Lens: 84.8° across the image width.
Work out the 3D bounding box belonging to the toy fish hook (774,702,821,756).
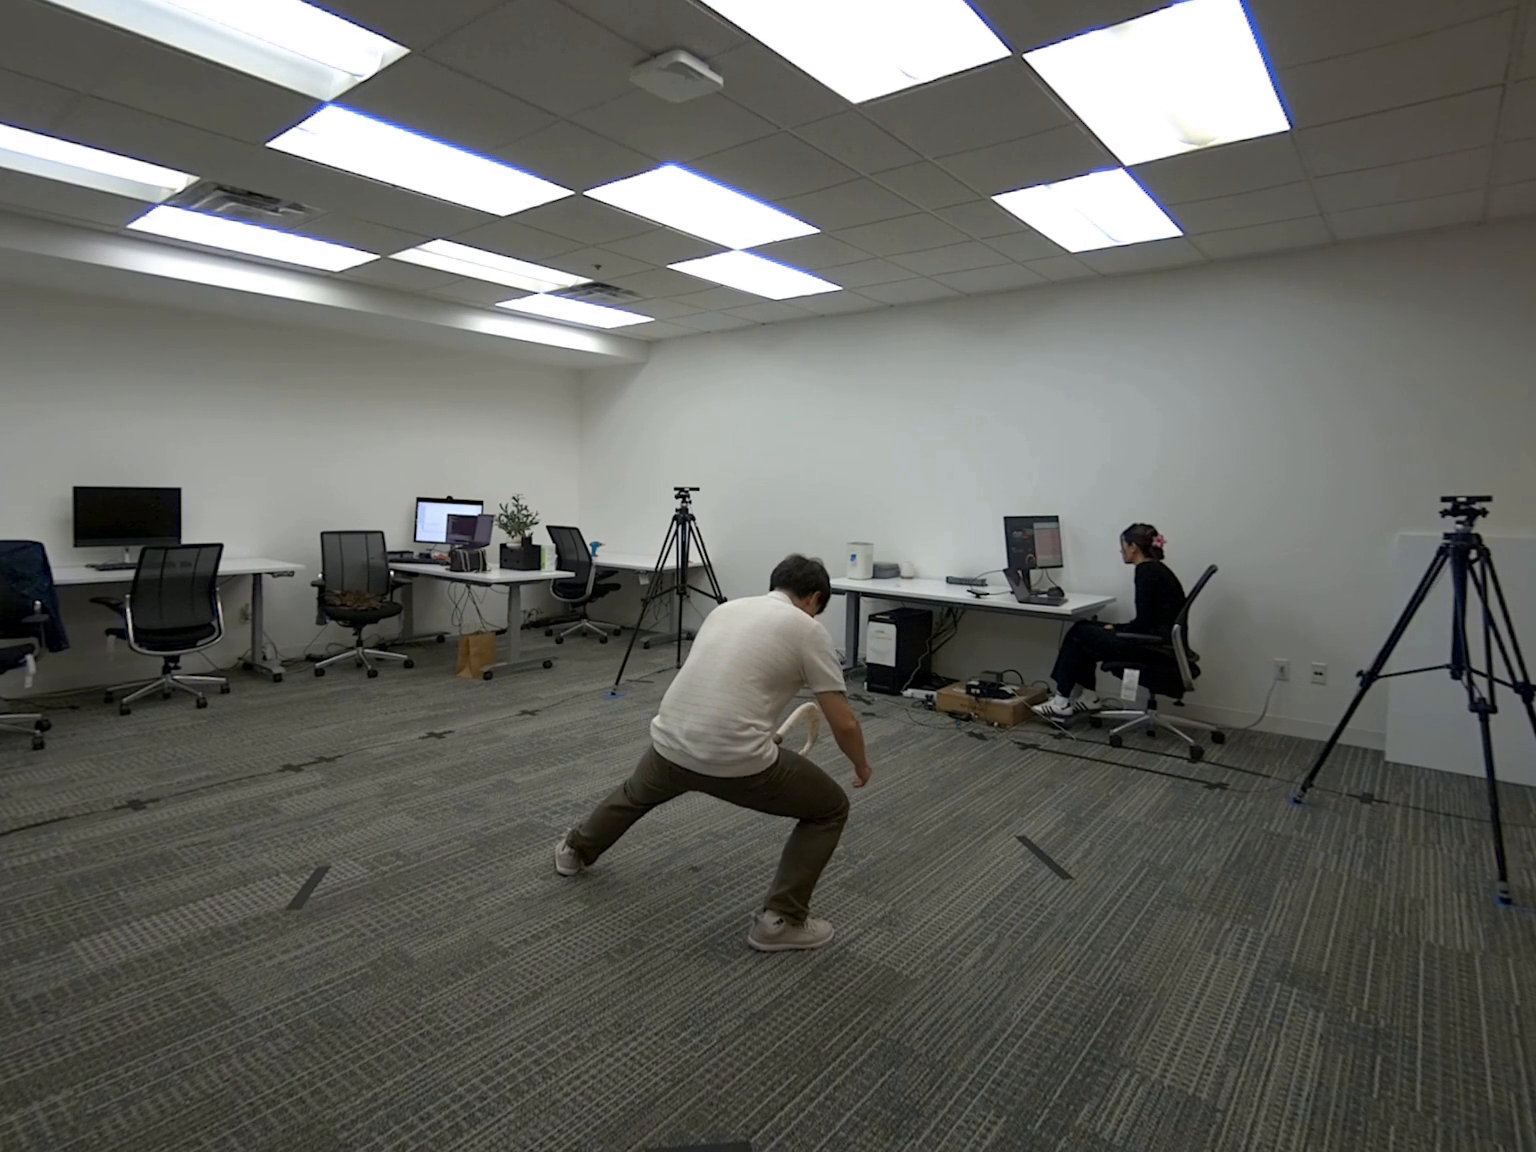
[{"bbox_3d":[0.065,0.637,3.213,0.050,0.222,0.496,0,12,36],"label":"toy fish hook"}]
